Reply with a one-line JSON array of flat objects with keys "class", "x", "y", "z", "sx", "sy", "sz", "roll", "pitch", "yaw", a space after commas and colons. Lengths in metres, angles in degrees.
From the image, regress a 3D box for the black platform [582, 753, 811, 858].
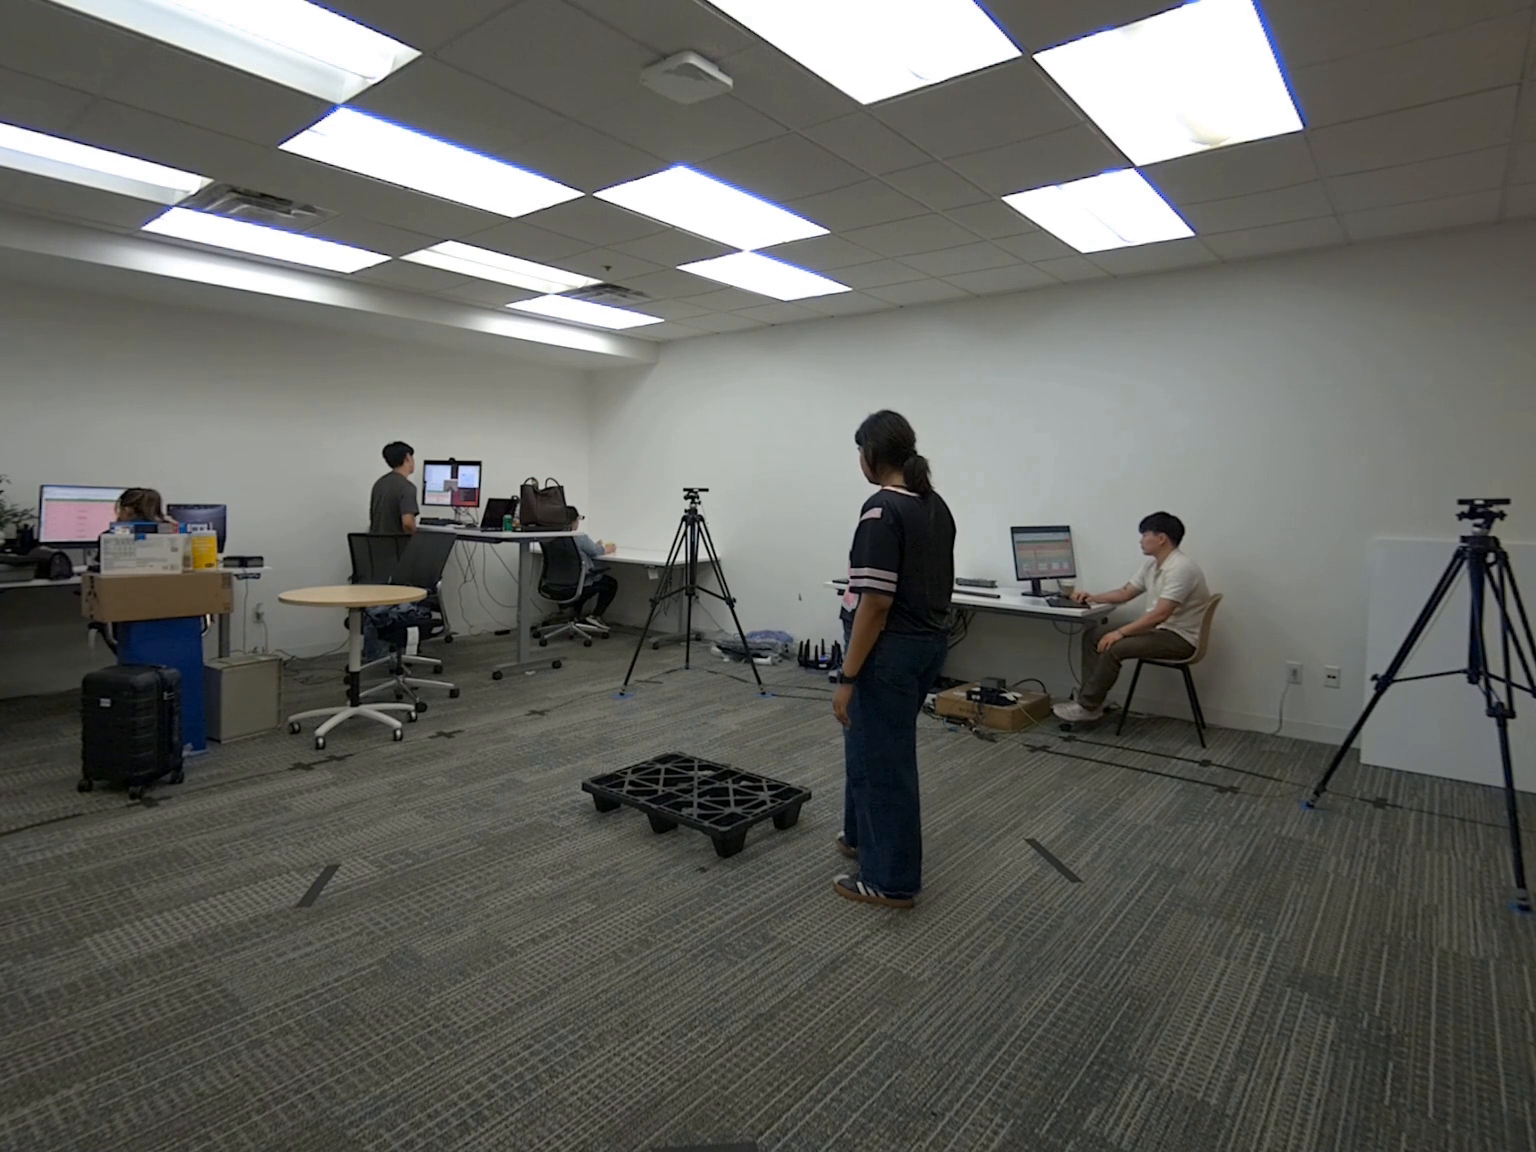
[{"class": "black platform", "x": -0.319, "y": 0.953, "z": 3.603, "sx": 0.832, "sy": 0.143, "sz": 0.588, "roll": 5, "pitch": 7, "yaw": 38}]
